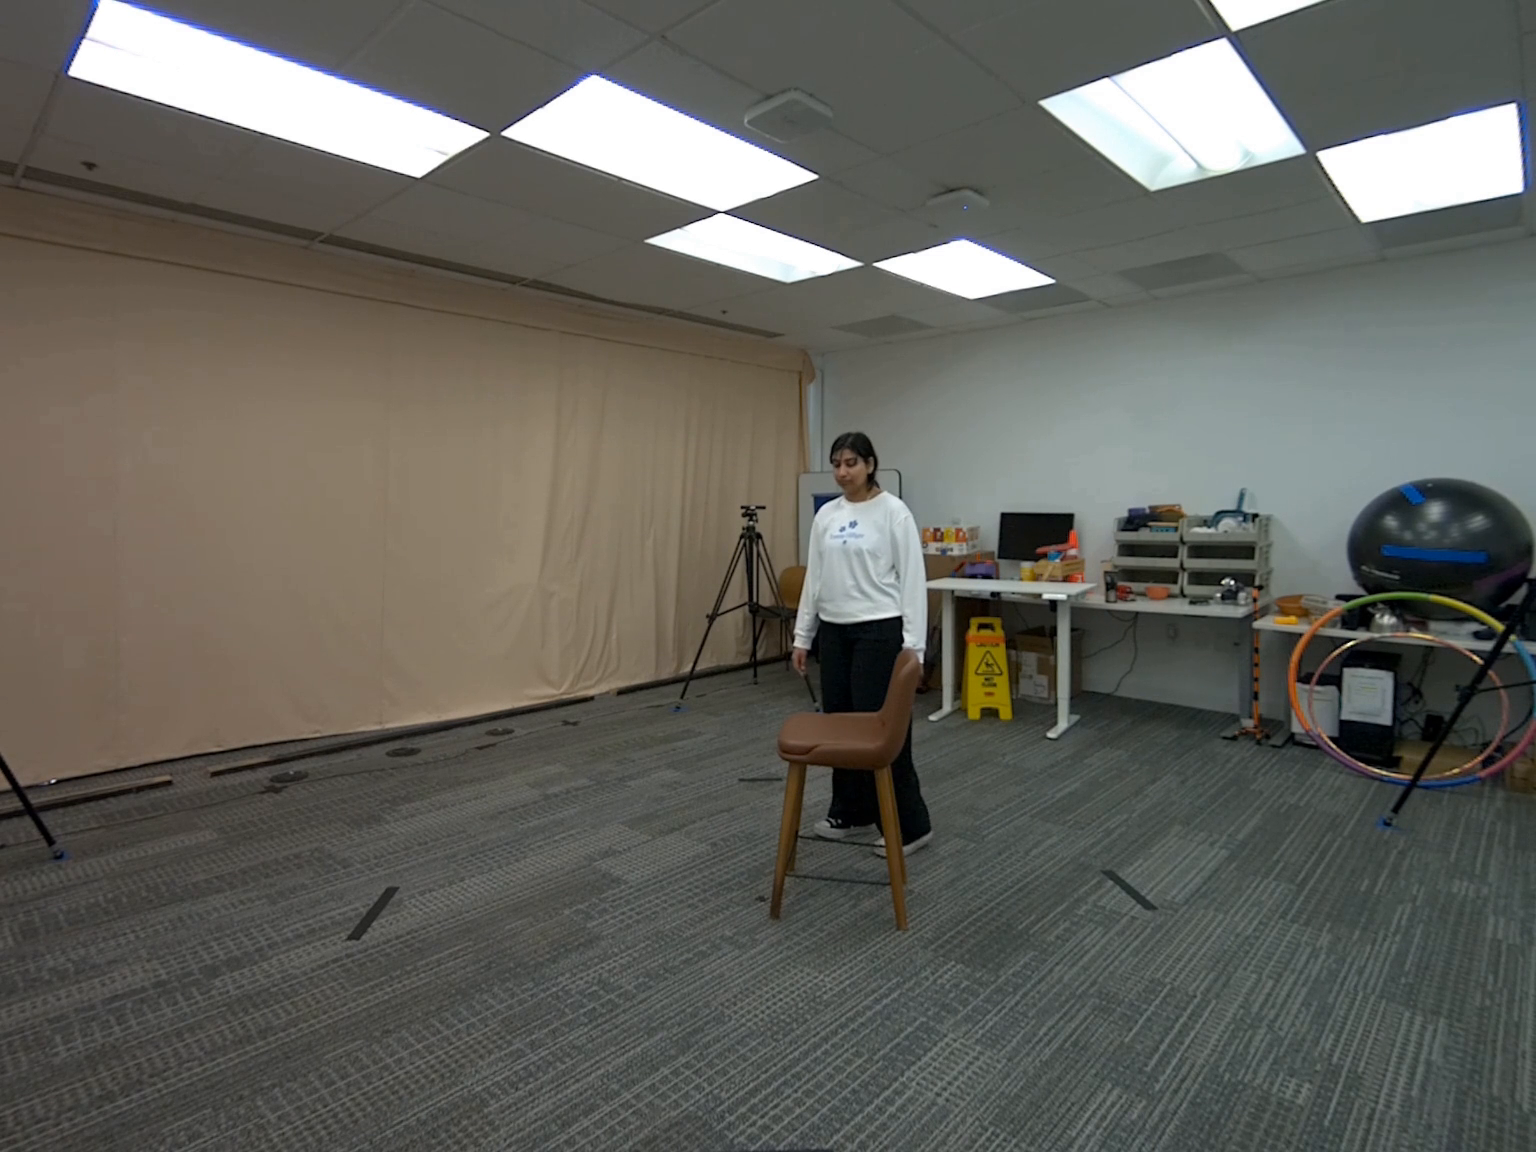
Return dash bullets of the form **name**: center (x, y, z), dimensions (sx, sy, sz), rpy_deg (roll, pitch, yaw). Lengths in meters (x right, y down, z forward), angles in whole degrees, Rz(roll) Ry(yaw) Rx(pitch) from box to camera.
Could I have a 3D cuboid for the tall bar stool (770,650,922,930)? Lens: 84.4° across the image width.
- **tall bar stool**: center (0.270, 0.710, 2.964), dimensions (0.474, 0.888, 0.451), rpy_deg (2, 3, 12)
